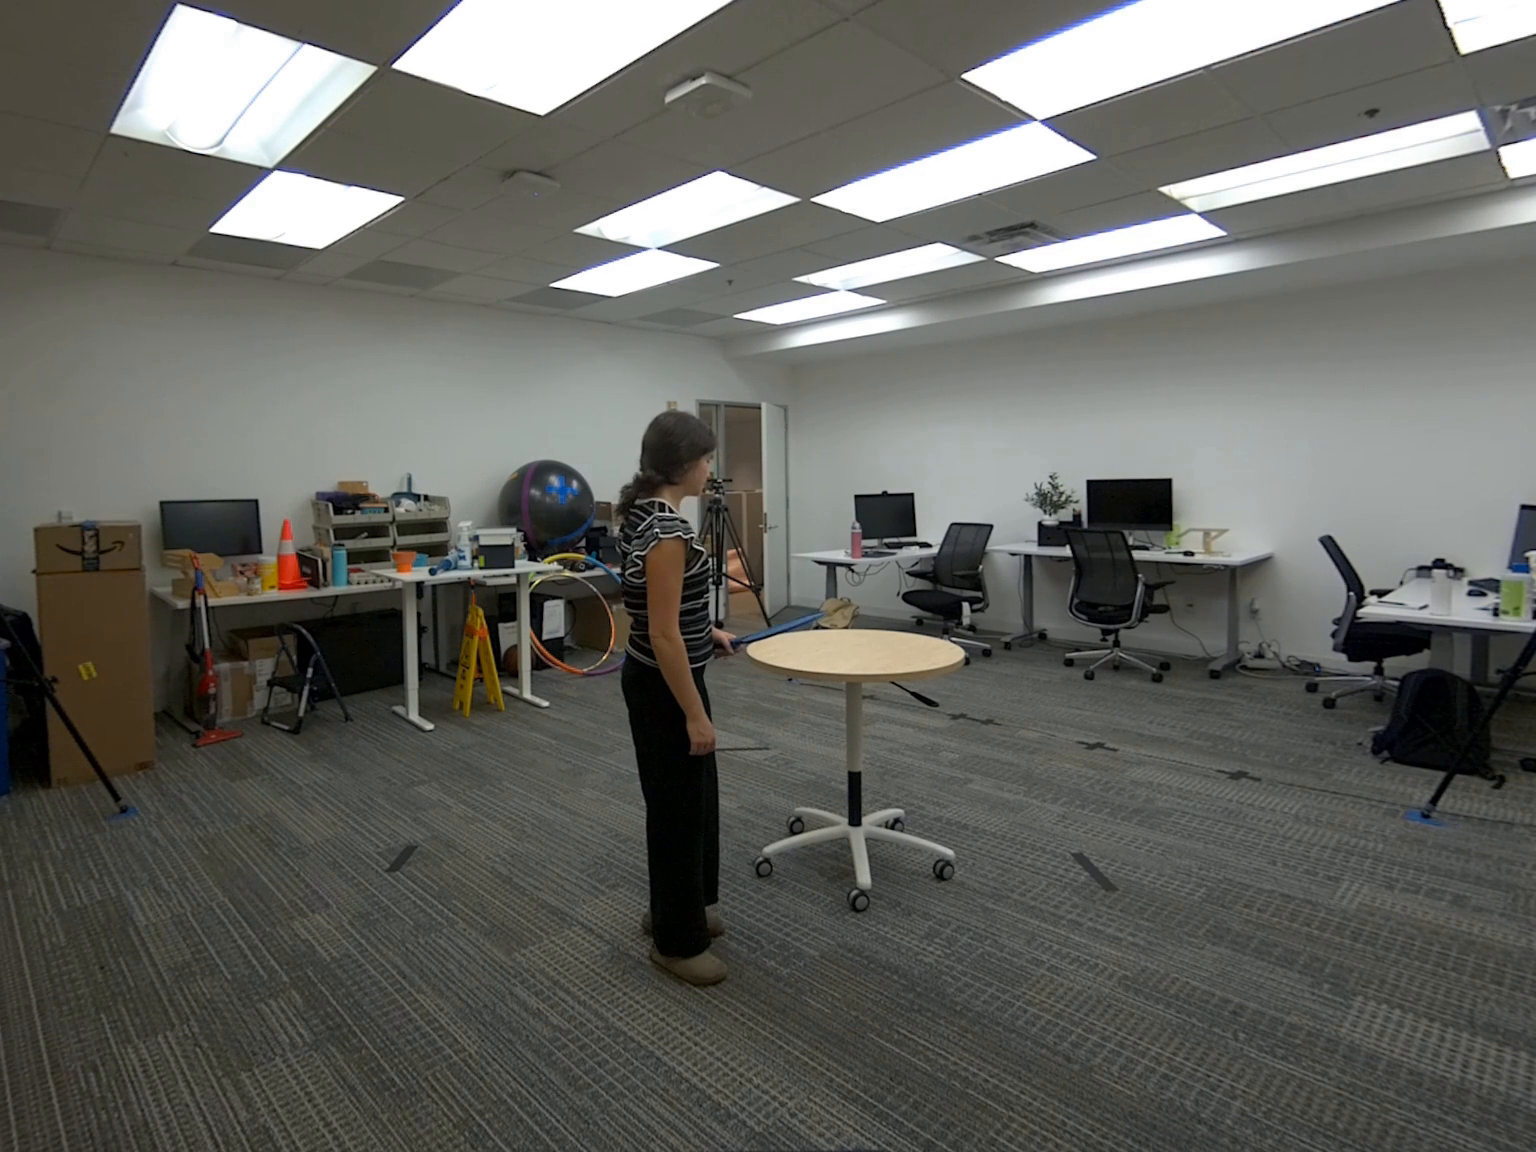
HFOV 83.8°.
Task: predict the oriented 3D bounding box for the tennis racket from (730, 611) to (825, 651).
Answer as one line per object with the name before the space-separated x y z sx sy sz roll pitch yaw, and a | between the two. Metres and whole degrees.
tennis racket | -0.024 0.176 2.444 0.439 0.032 0.209 -23 -3 42
